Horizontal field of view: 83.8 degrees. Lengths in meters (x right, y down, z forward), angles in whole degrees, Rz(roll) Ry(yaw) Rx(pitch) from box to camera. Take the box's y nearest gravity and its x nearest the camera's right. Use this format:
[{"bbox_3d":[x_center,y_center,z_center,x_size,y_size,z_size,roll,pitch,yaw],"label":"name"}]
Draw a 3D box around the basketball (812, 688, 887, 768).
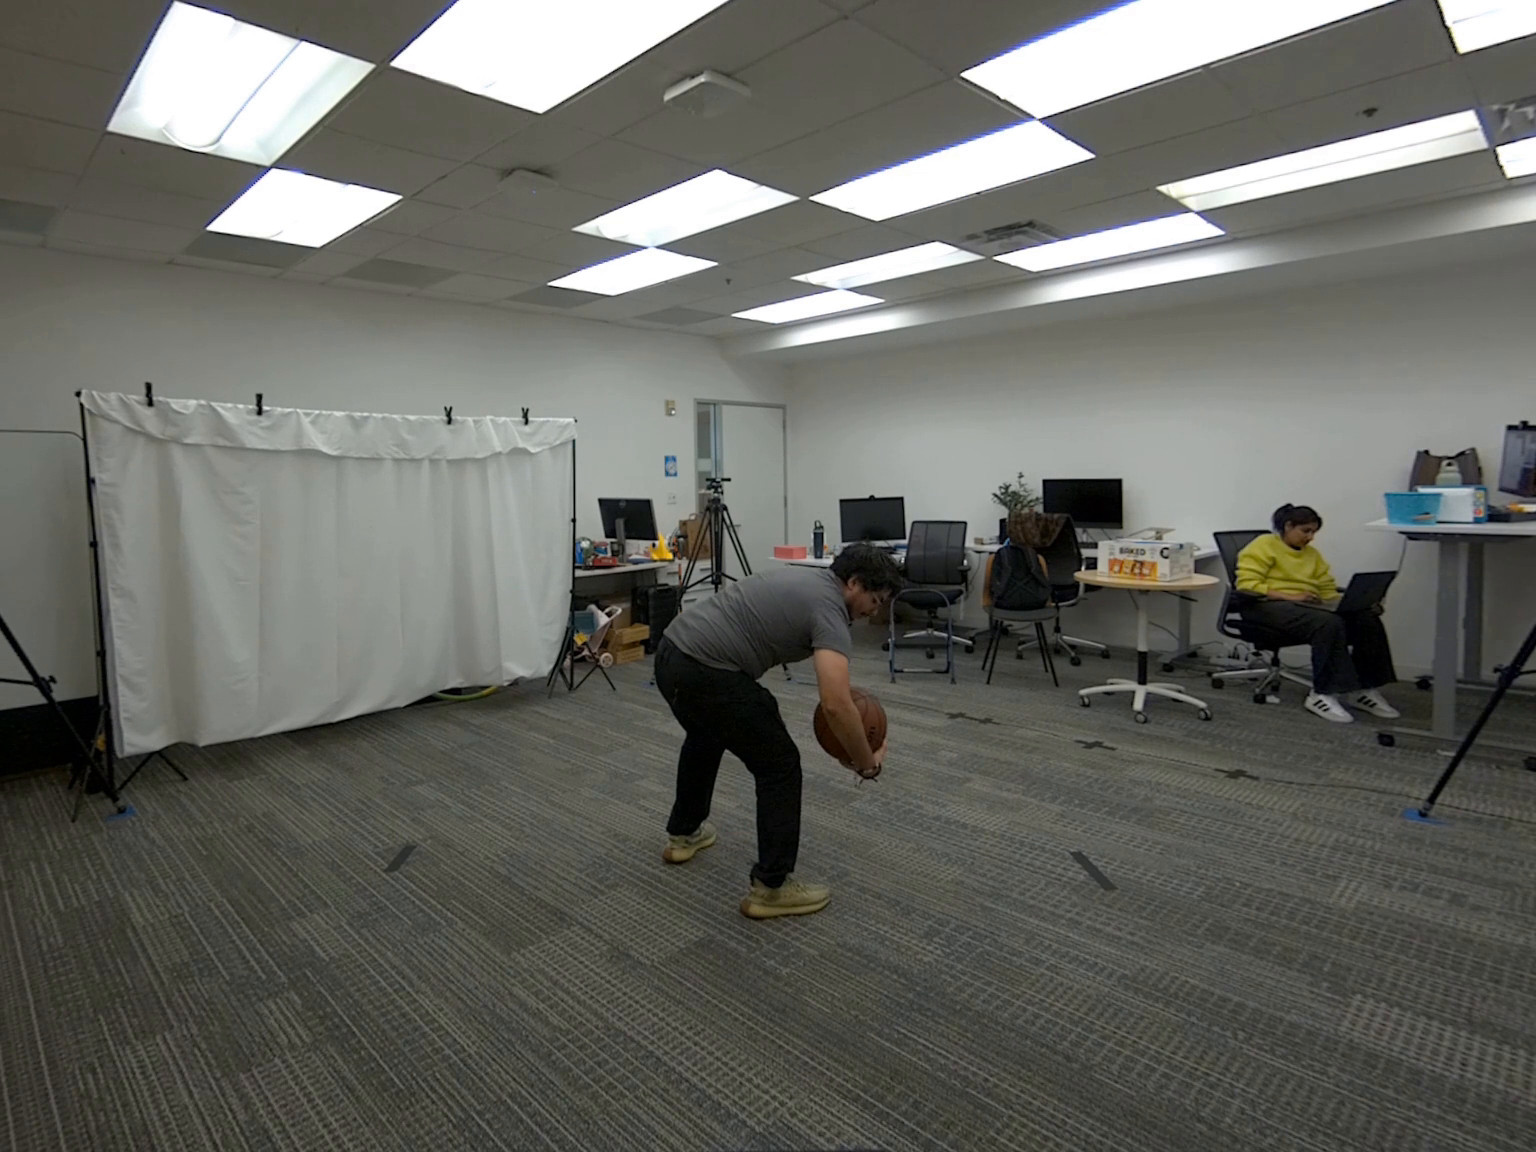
[{"bbox_3d":[0.266,0.478,2.777,0.236,0.235,0.237,-1,5,-2],"label":"basketball"}]
